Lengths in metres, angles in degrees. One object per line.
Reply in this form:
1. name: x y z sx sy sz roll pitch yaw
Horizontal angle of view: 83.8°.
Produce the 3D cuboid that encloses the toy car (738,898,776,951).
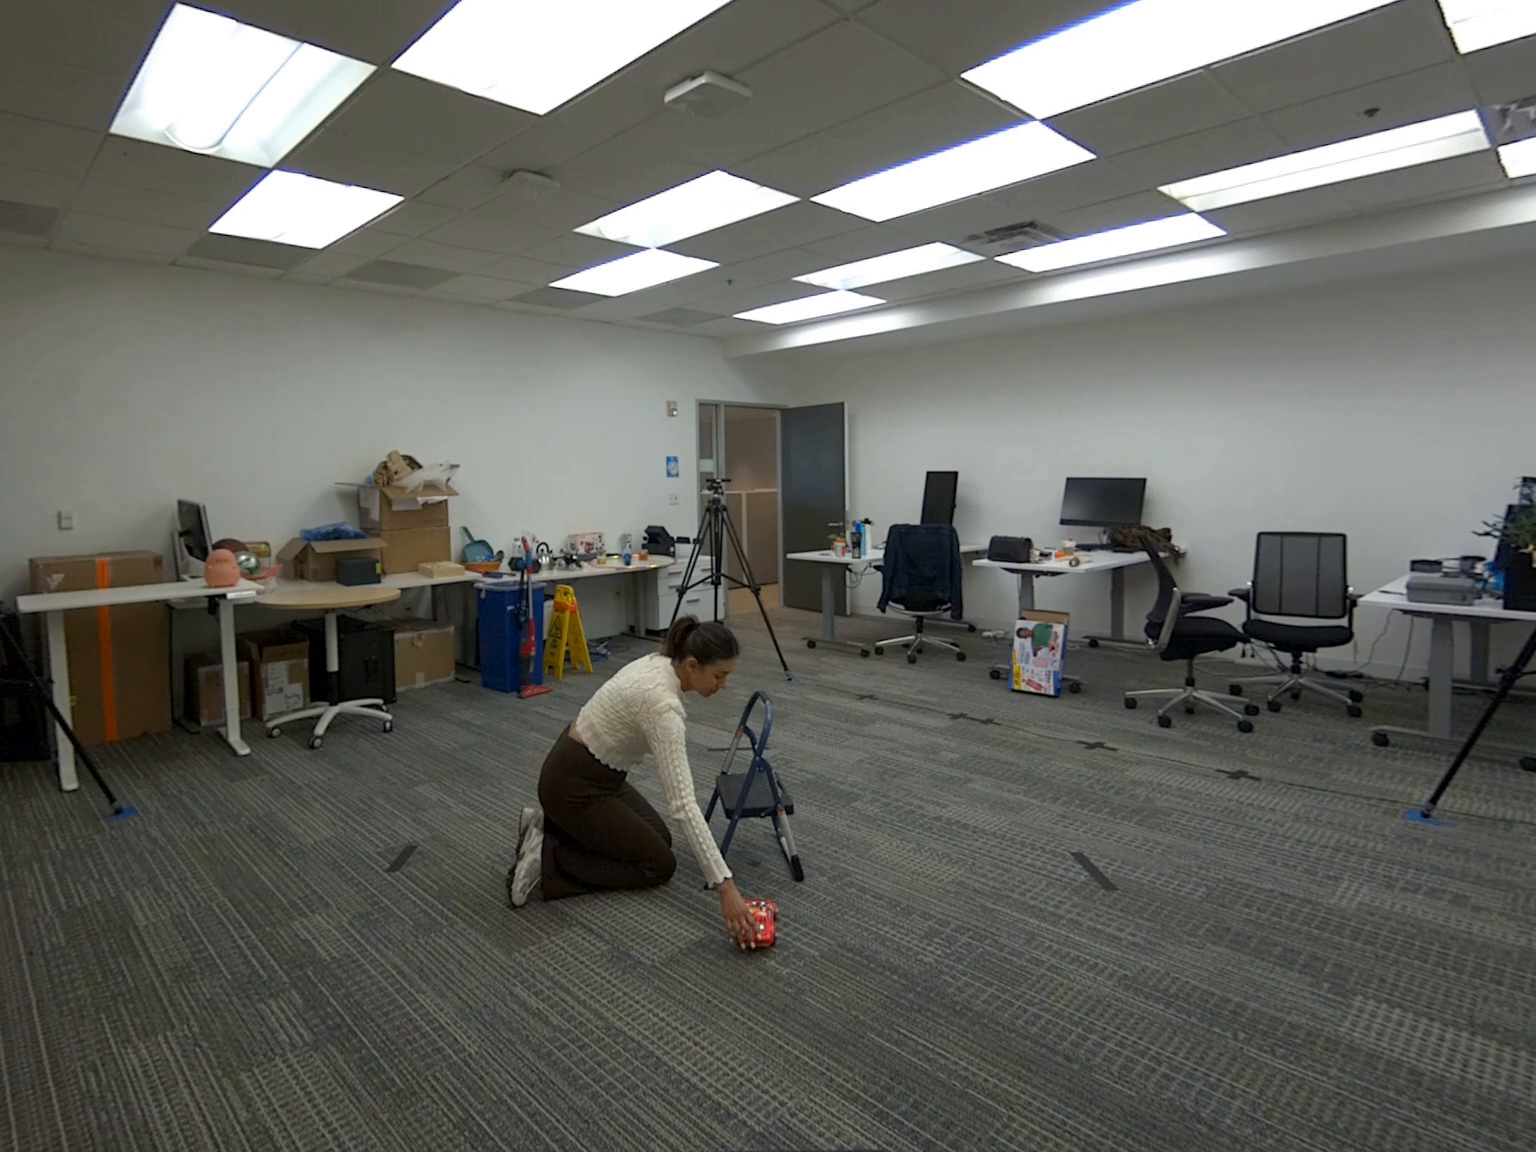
1. toy car: -0.037 1.073 2.622 0.131 0.083 0.252 1 -4 4
